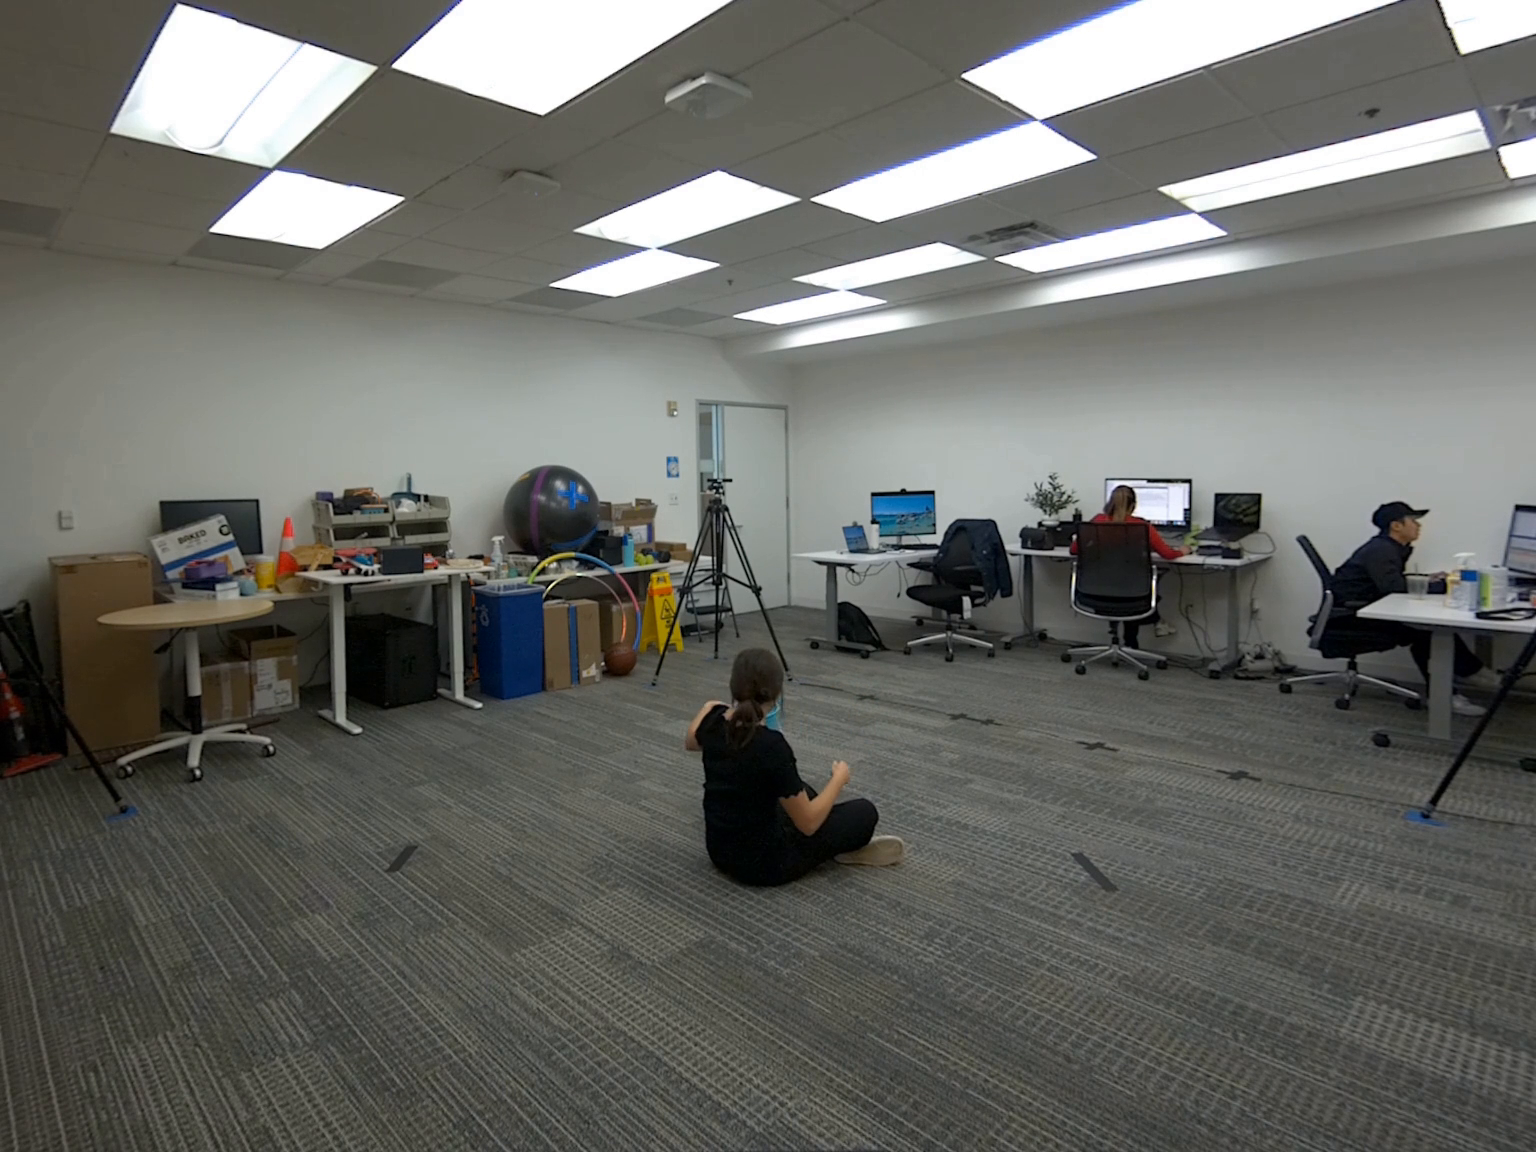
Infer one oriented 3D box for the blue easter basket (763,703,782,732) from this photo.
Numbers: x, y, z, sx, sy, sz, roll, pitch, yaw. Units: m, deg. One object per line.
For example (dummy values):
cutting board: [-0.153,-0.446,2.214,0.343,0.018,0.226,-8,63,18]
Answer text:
blue easter basket: [-0.047,0.637,3.512,0.244,0.154,0.246,-9,10,0]
